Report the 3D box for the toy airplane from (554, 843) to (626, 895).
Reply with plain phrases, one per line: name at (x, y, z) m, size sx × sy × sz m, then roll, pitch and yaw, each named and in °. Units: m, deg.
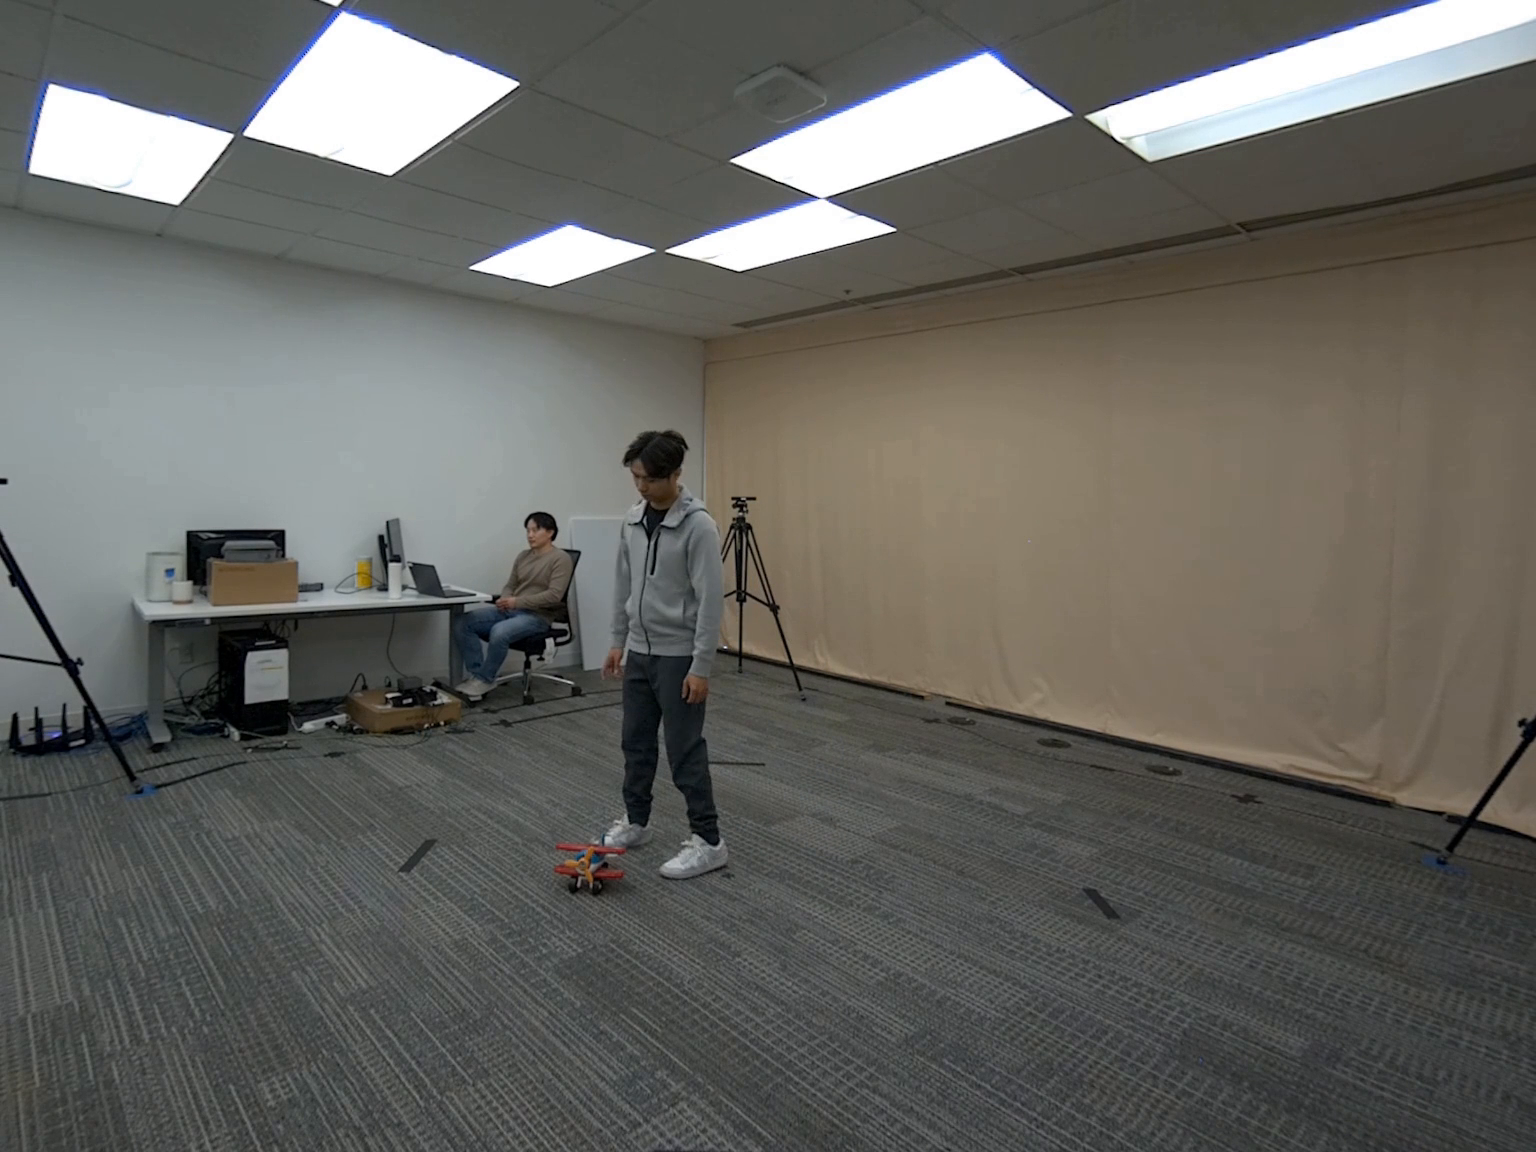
toy airplane at (-0.658, 1.032, 3.027) m, size 0.247 × 0.156 × 0.264 m, roll 0°, pitch 5°, yaw -22°
